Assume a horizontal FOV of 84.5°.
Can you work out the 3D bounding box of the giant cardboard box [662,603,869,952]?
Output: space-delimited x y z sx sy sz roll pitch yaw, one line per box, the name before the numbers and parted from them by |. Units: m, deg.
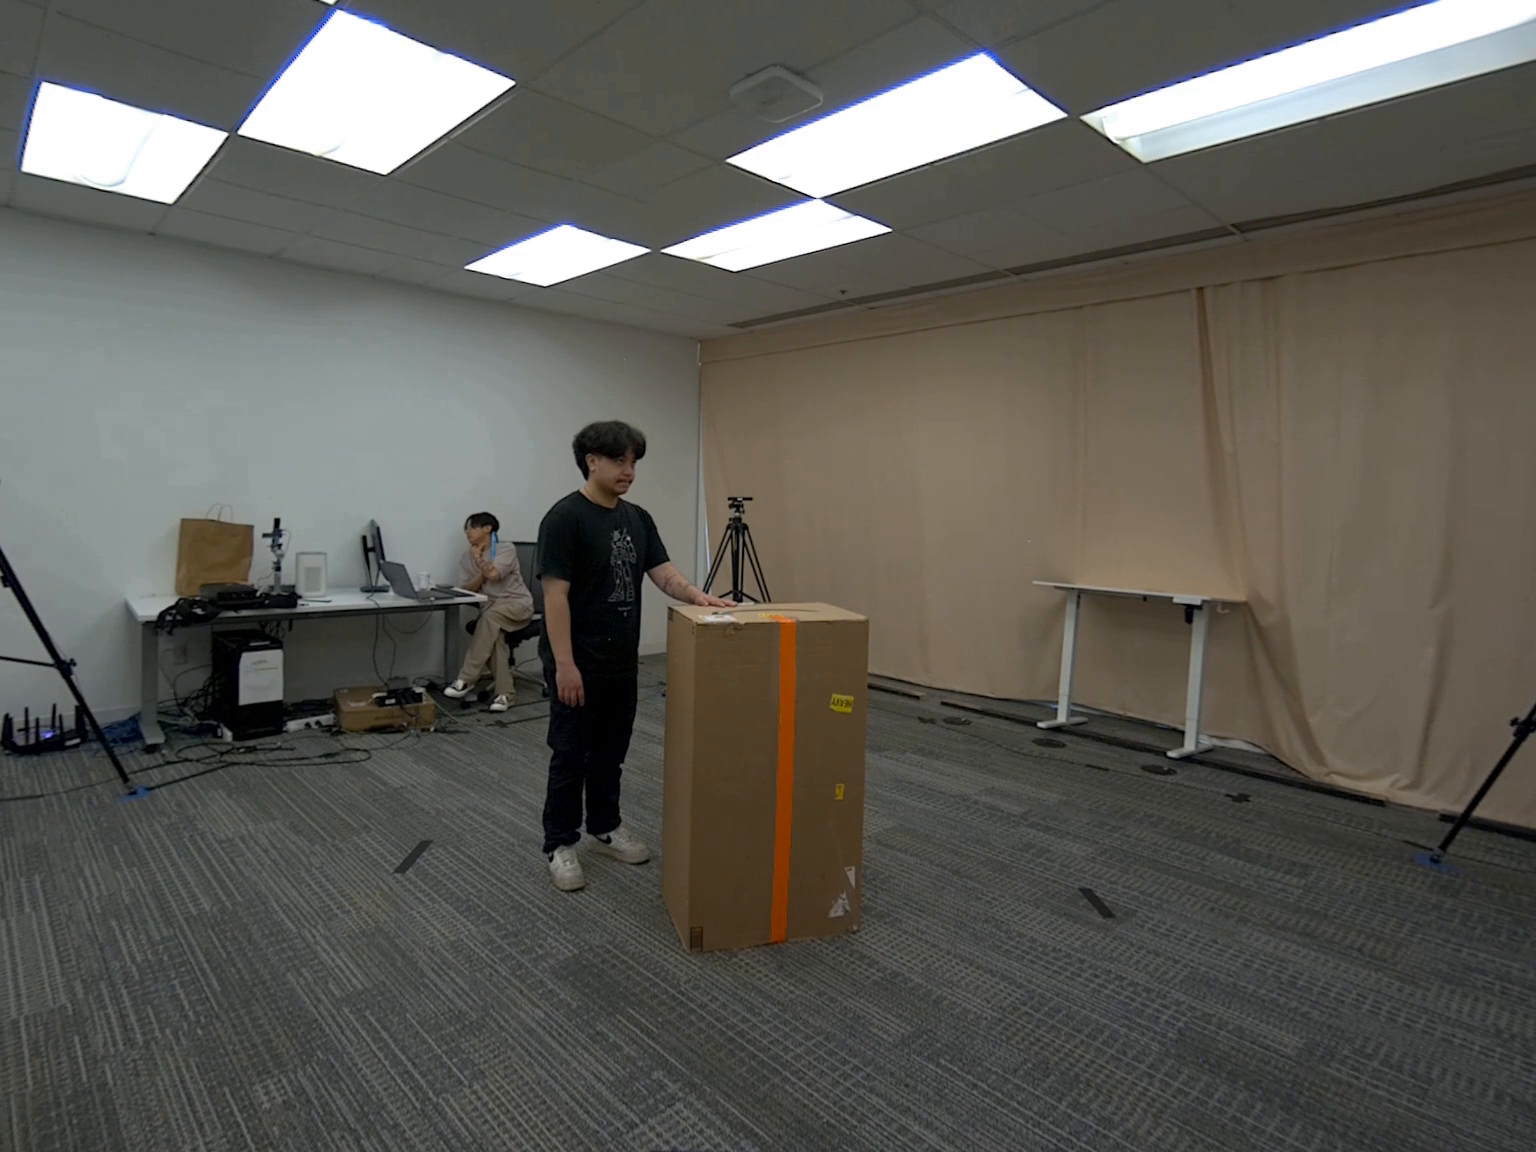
giant cardboard box | -0.031 0.625 2.813 0.576 1.024 0.454 0 4 -17
